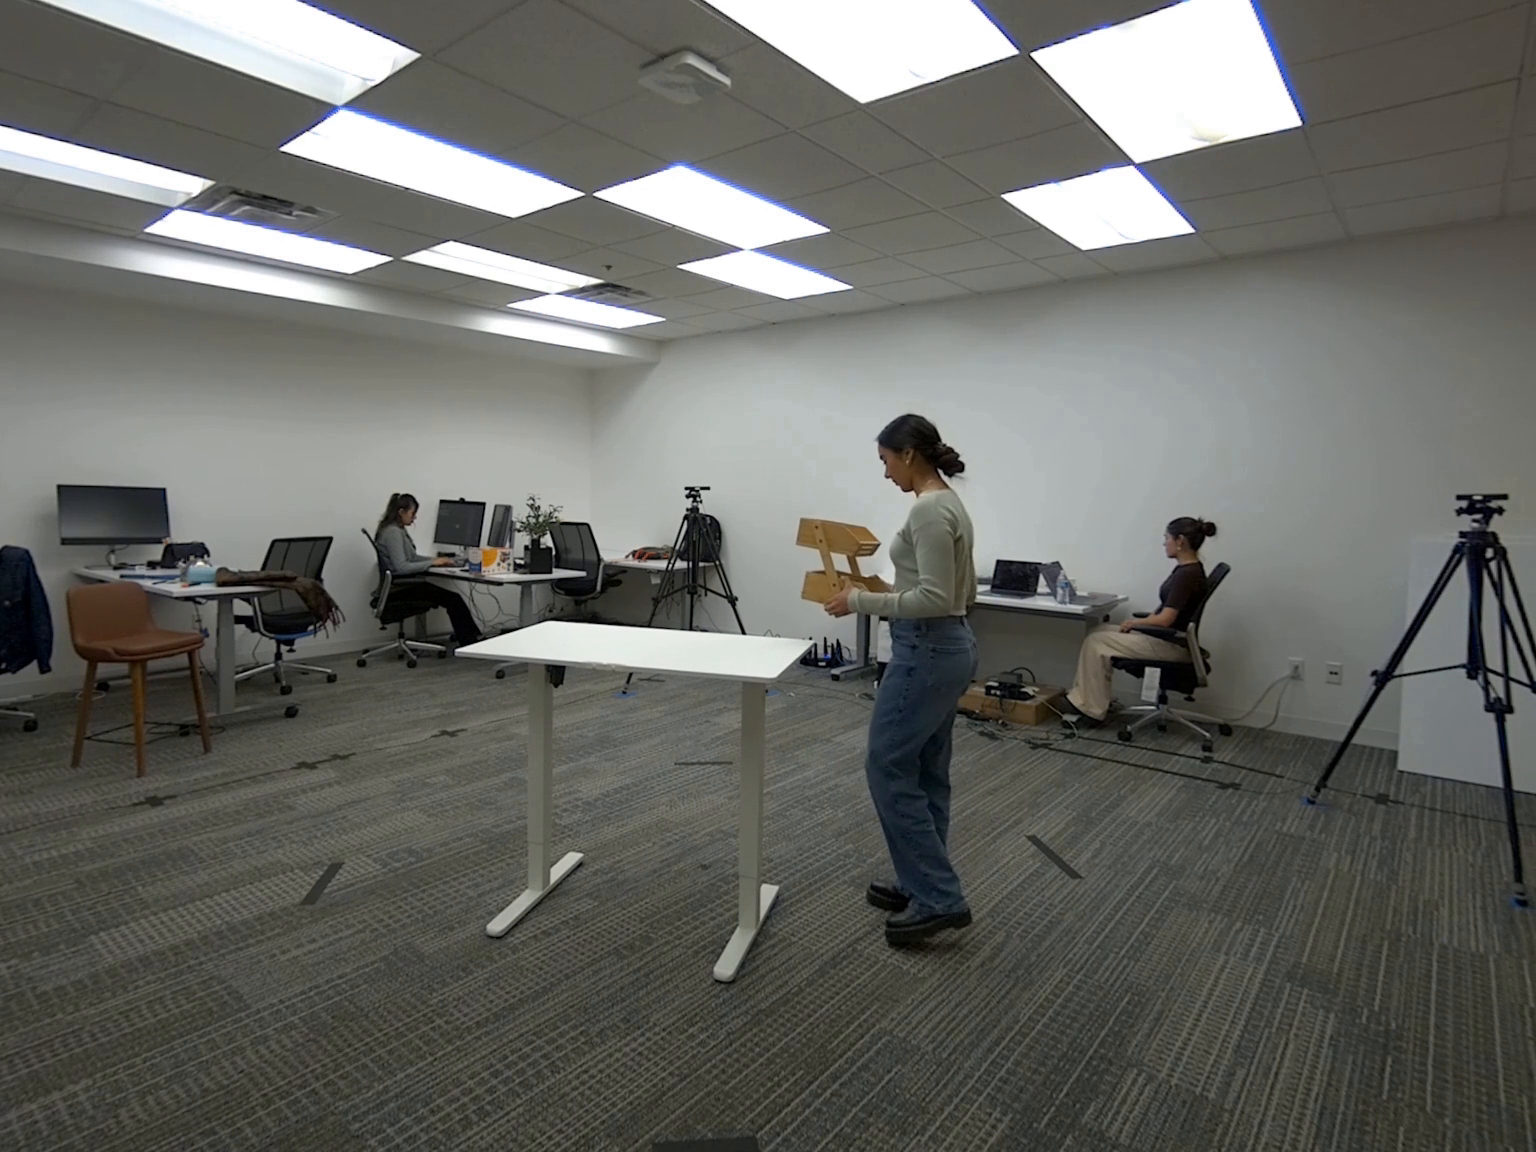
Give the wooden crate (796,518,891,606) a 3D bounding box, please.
[{"bbox_3d":[0.271,-0.042,2.832,0.310,0.272,0.317,12,4,21],"label":"wooden crate"}]
